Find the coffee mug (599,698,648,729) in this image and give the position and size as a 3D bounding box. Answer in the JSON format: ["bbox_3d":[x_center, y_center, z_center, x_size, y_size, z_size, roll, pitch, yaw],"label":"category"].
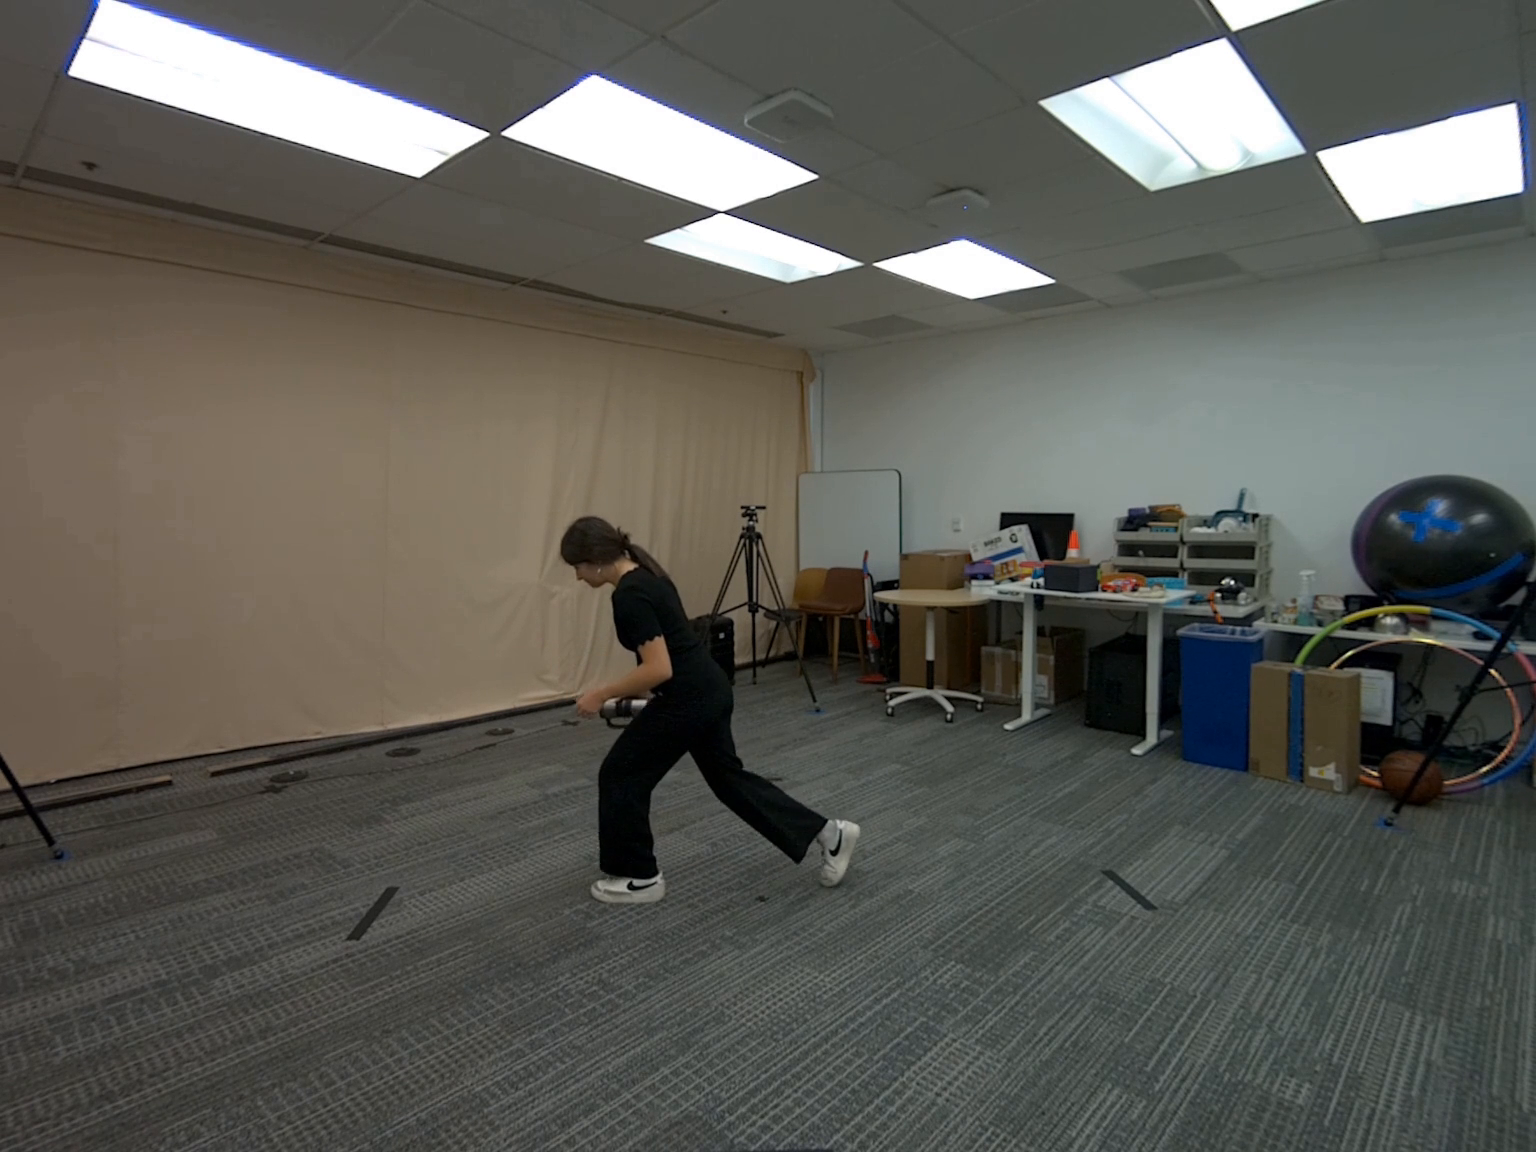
[{"bbox_3d":[-0.525,0.519,3.190,0.205,0.123,0.086,-3,-18,9],"label":"coffee mug"}]
